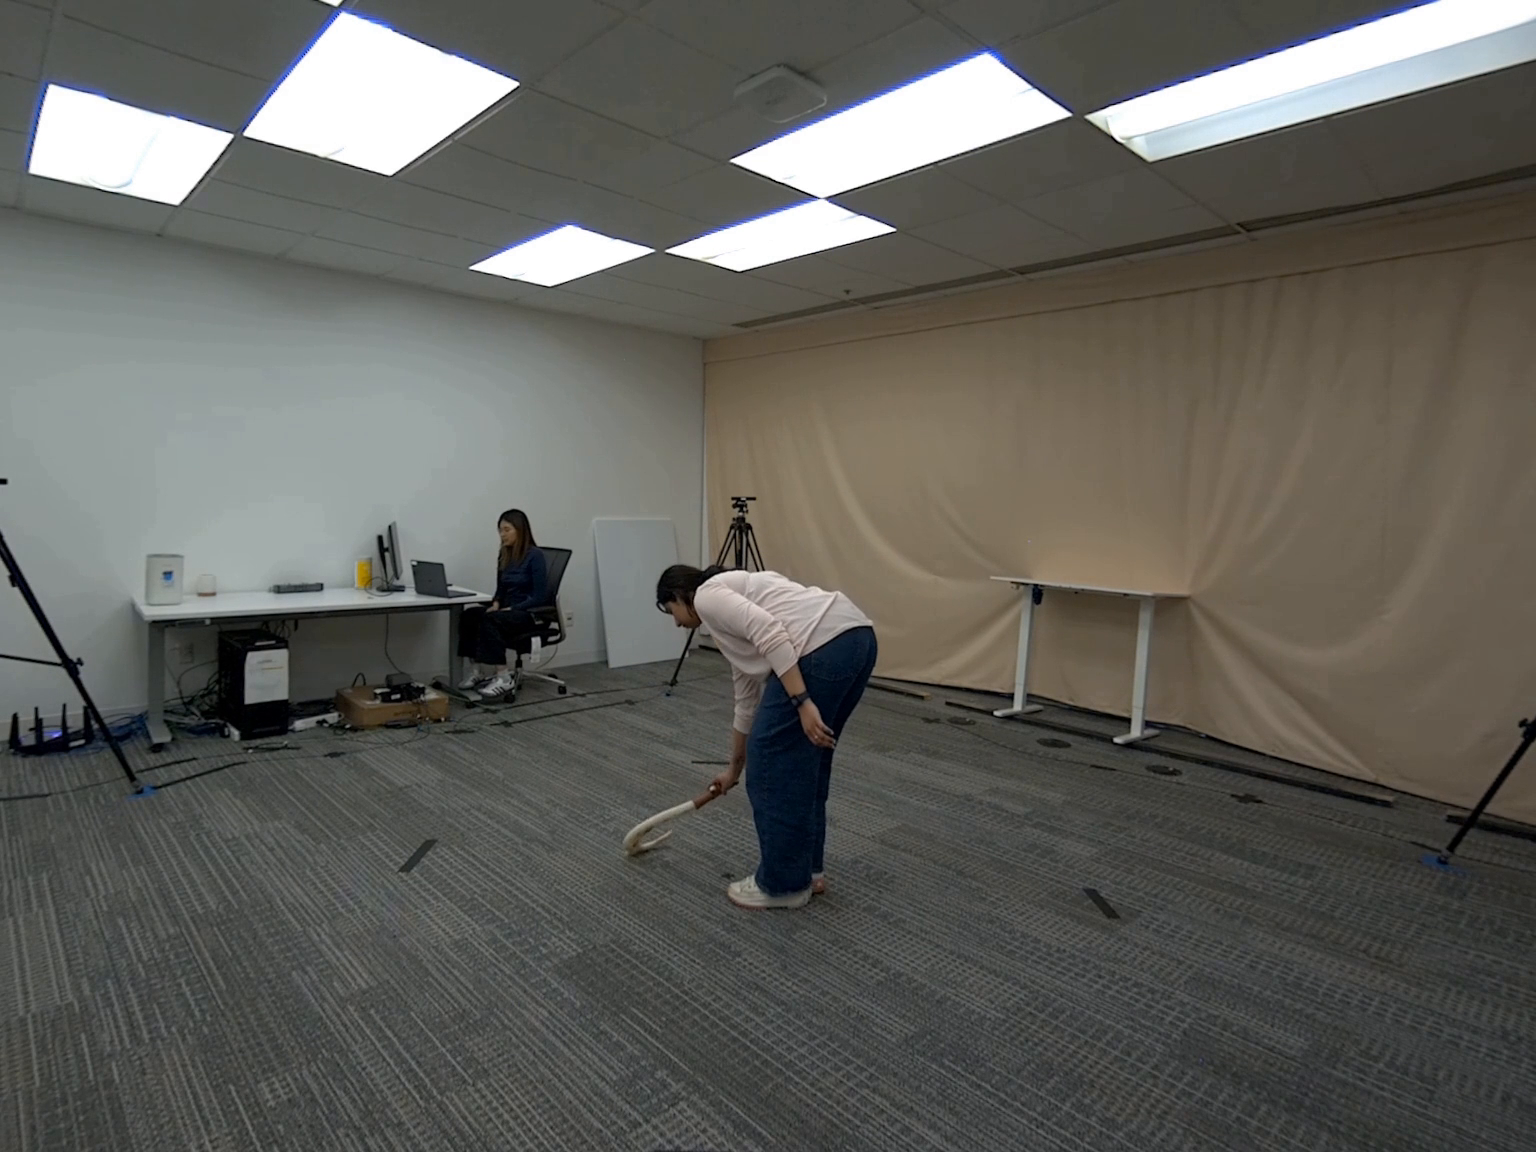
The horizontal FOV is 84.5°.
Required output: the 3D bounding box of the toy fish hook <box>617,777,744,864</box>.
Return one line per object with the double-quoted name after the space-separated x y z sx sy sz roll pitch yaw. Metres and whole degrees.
-0.332 0.942 3.295 0.503 0.050 0.220 -24 -32 -16 "toy fish hook"
